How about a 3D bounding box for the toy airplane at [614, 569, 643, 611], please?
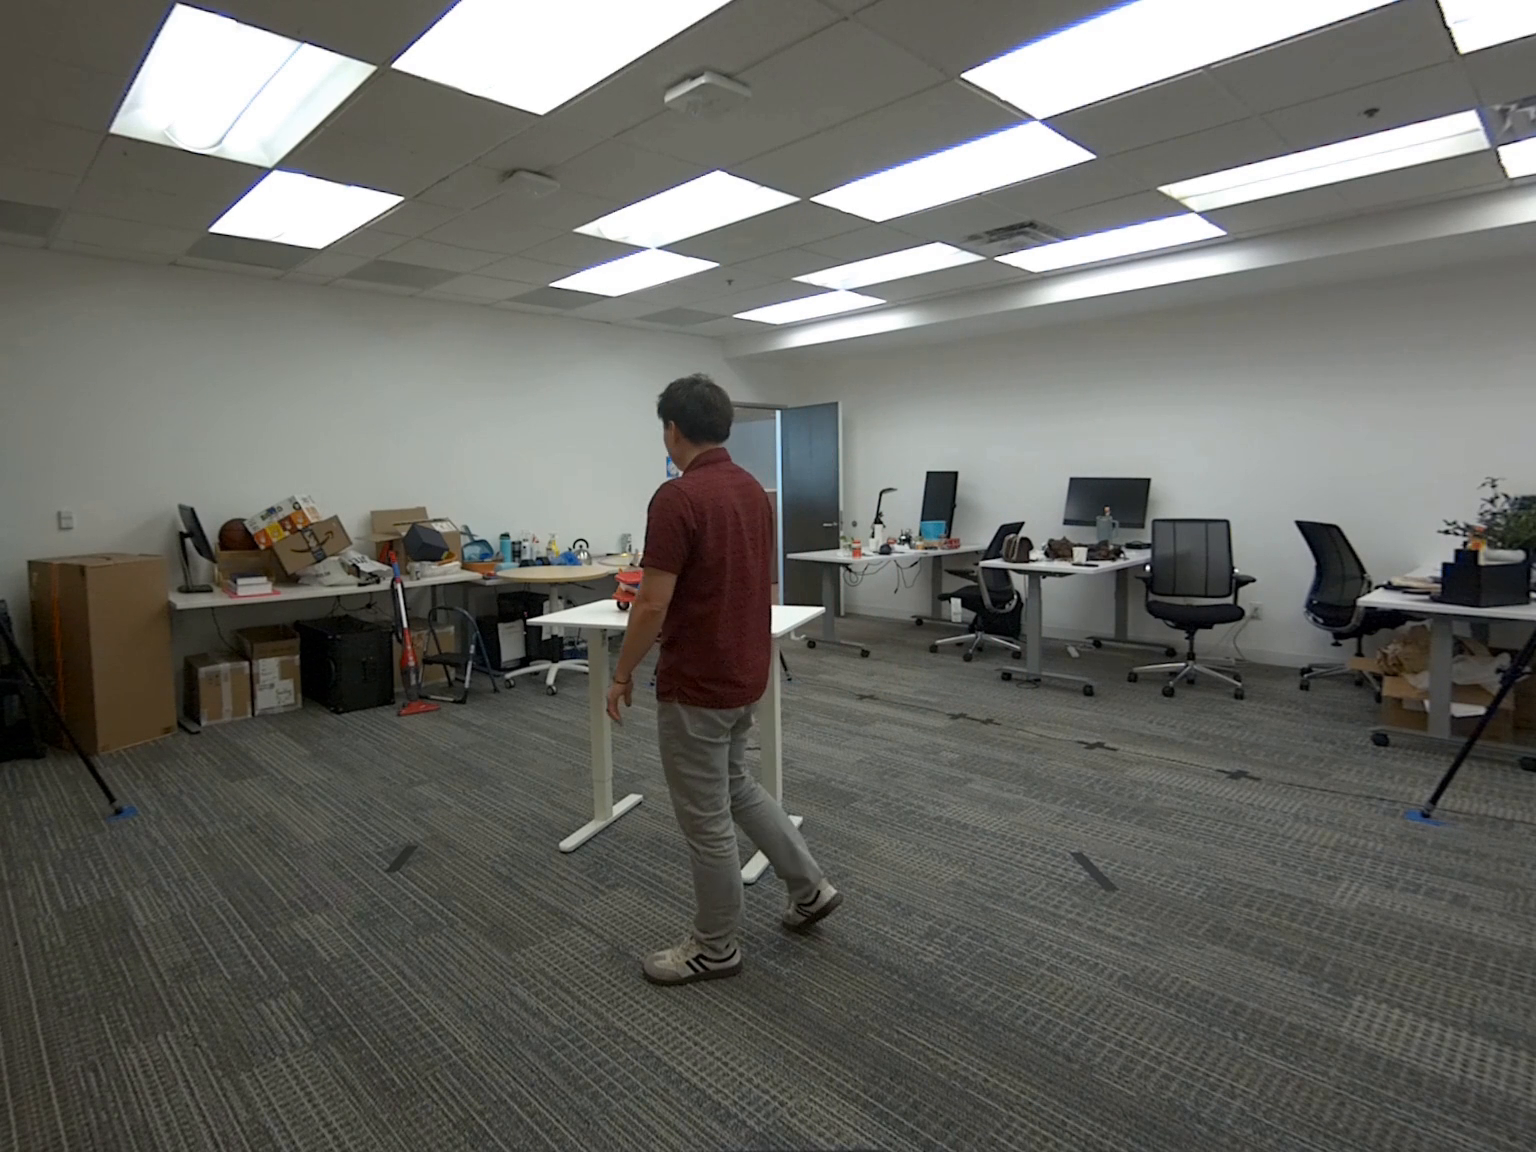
[{"bbox_3d":[-0.482,0.061,3.435,0.261,0.156,0.250,-1,4,5],"label":"toy airplane"}]
